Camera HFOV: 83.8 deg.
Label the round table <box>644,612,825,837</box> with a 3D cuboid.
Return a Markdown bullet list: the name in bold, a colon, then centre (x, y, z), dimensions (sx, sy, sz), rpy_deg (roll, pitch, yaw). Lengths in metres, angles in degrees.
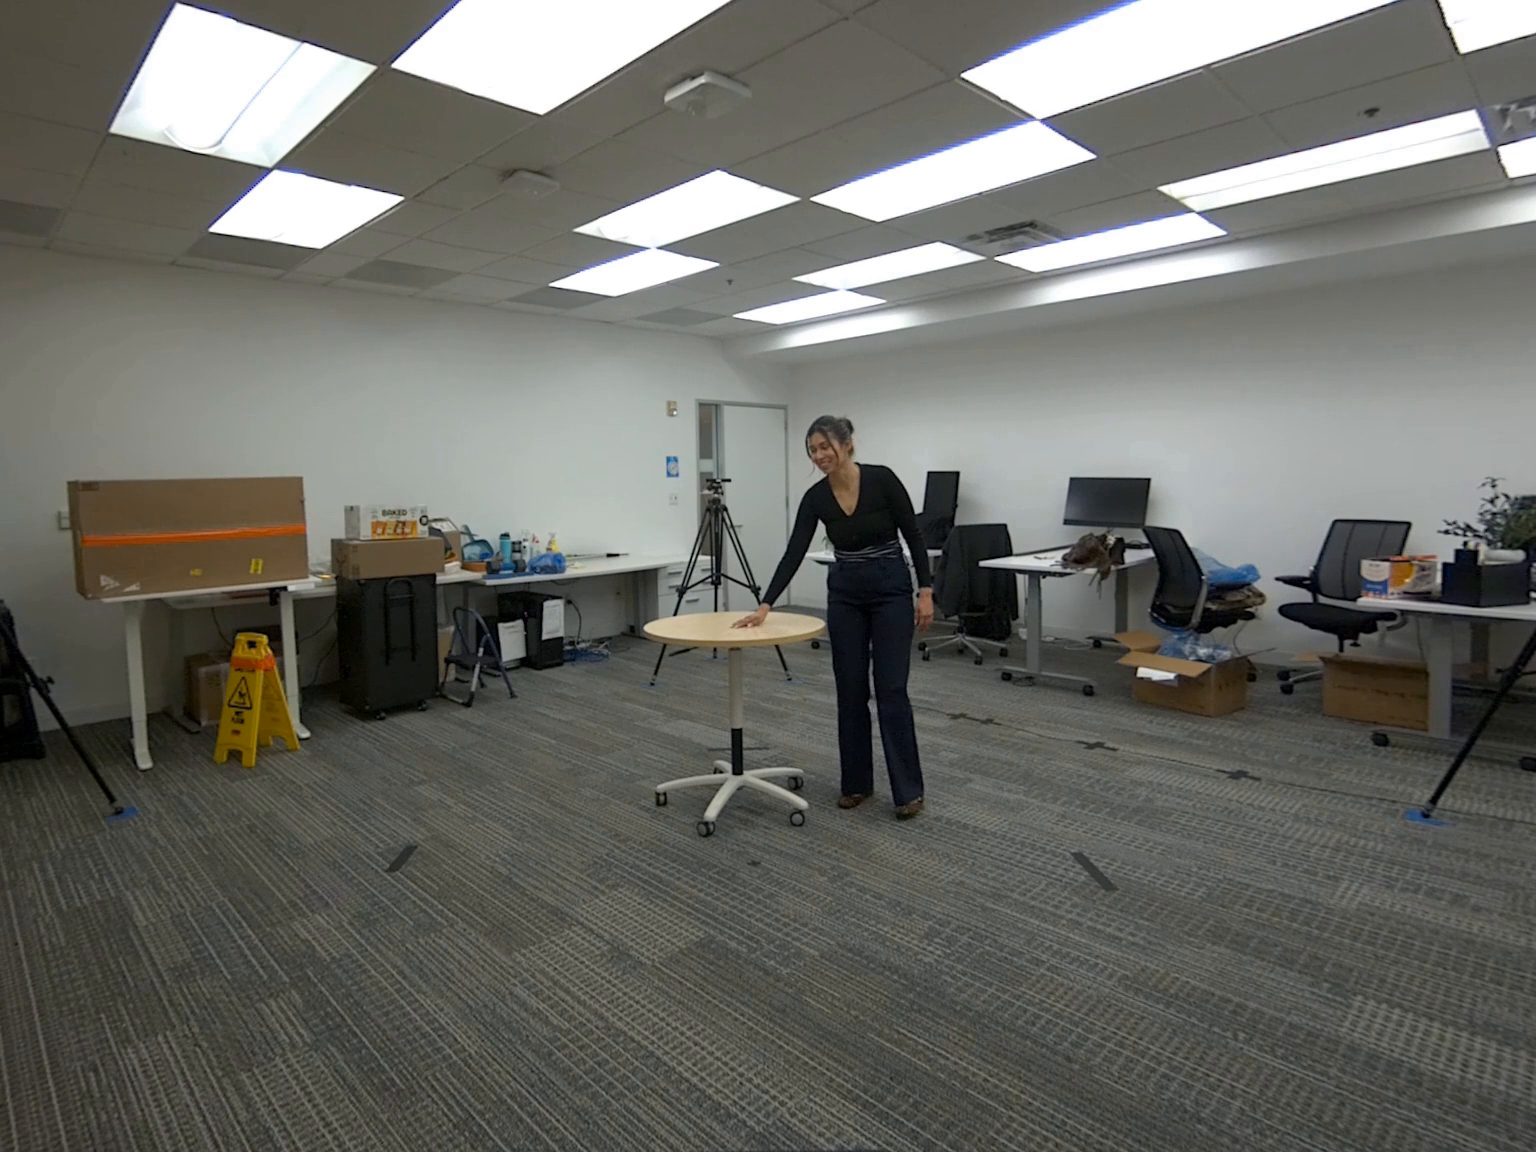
- **round table**: centre (-0.131, 0.597, 3.628), dimensions (0.763, 0.791, 0.768), rpy_deg (-1, 5, -2)
